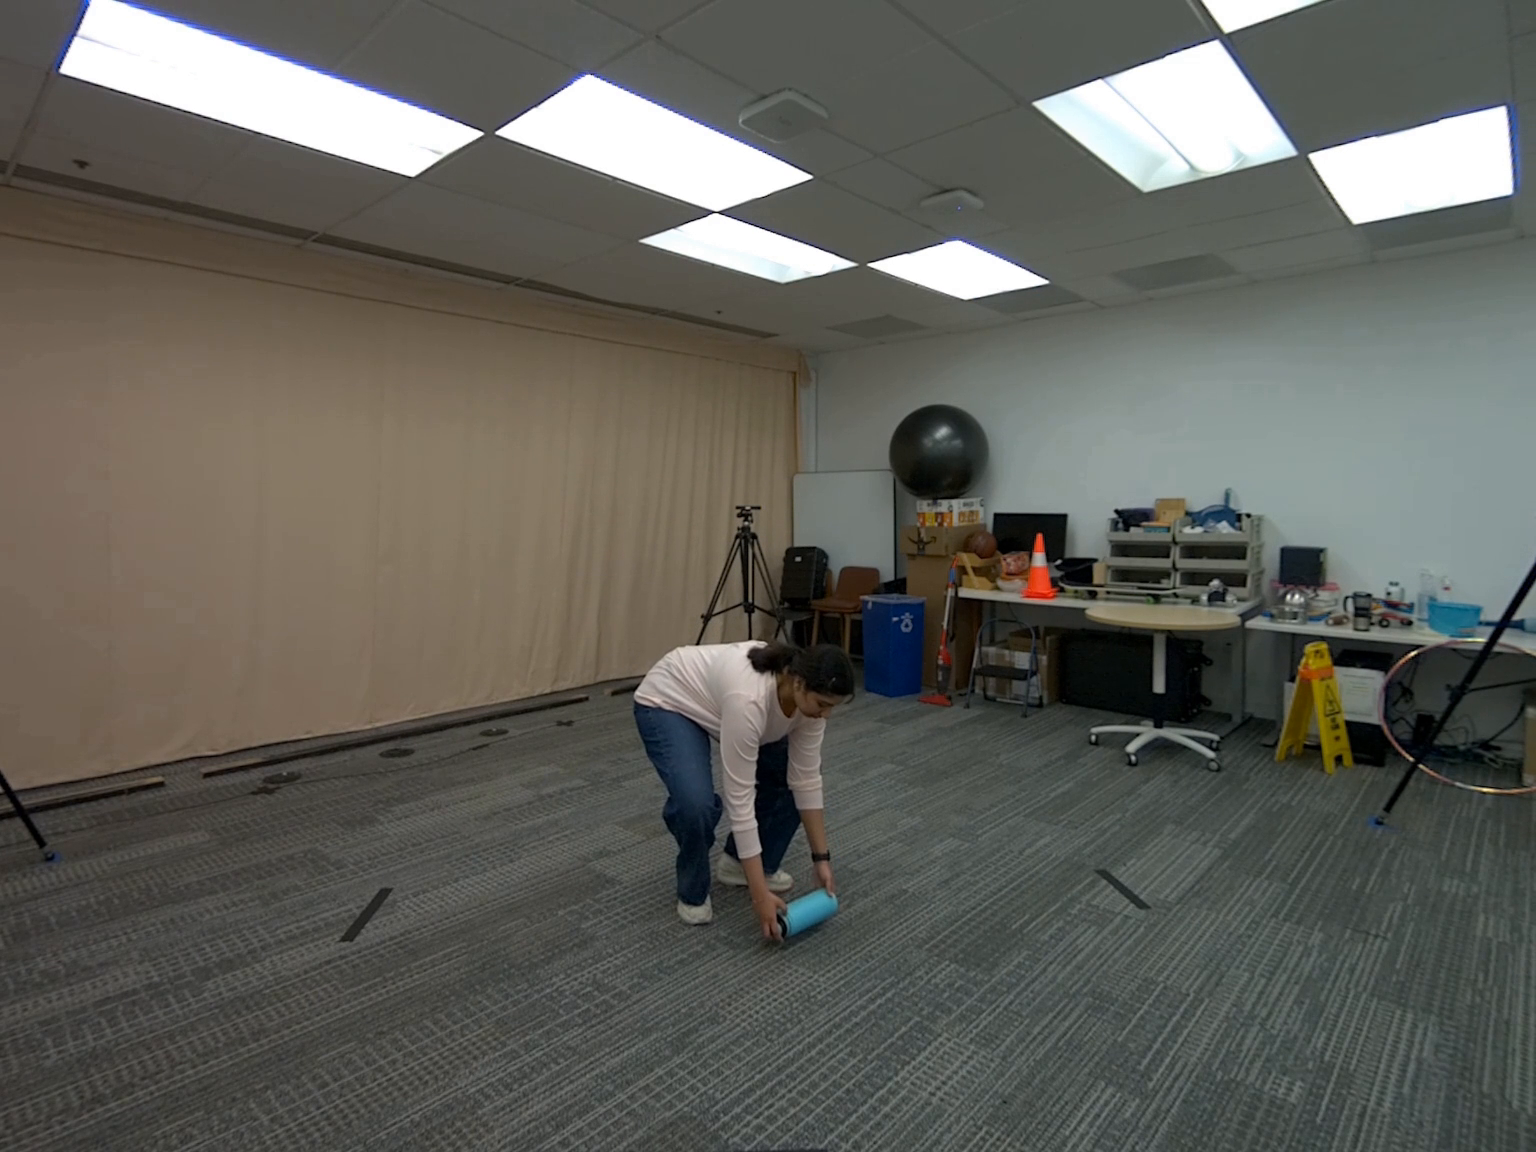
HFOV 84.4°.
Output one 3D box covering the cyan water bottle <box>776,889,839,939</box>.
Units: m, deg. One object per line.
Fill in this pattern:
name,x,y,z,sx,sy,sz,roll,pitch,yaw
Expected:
cyan water bottle,0.097,1.082,2.711,0.095,0.092,0.275,3,7,40
